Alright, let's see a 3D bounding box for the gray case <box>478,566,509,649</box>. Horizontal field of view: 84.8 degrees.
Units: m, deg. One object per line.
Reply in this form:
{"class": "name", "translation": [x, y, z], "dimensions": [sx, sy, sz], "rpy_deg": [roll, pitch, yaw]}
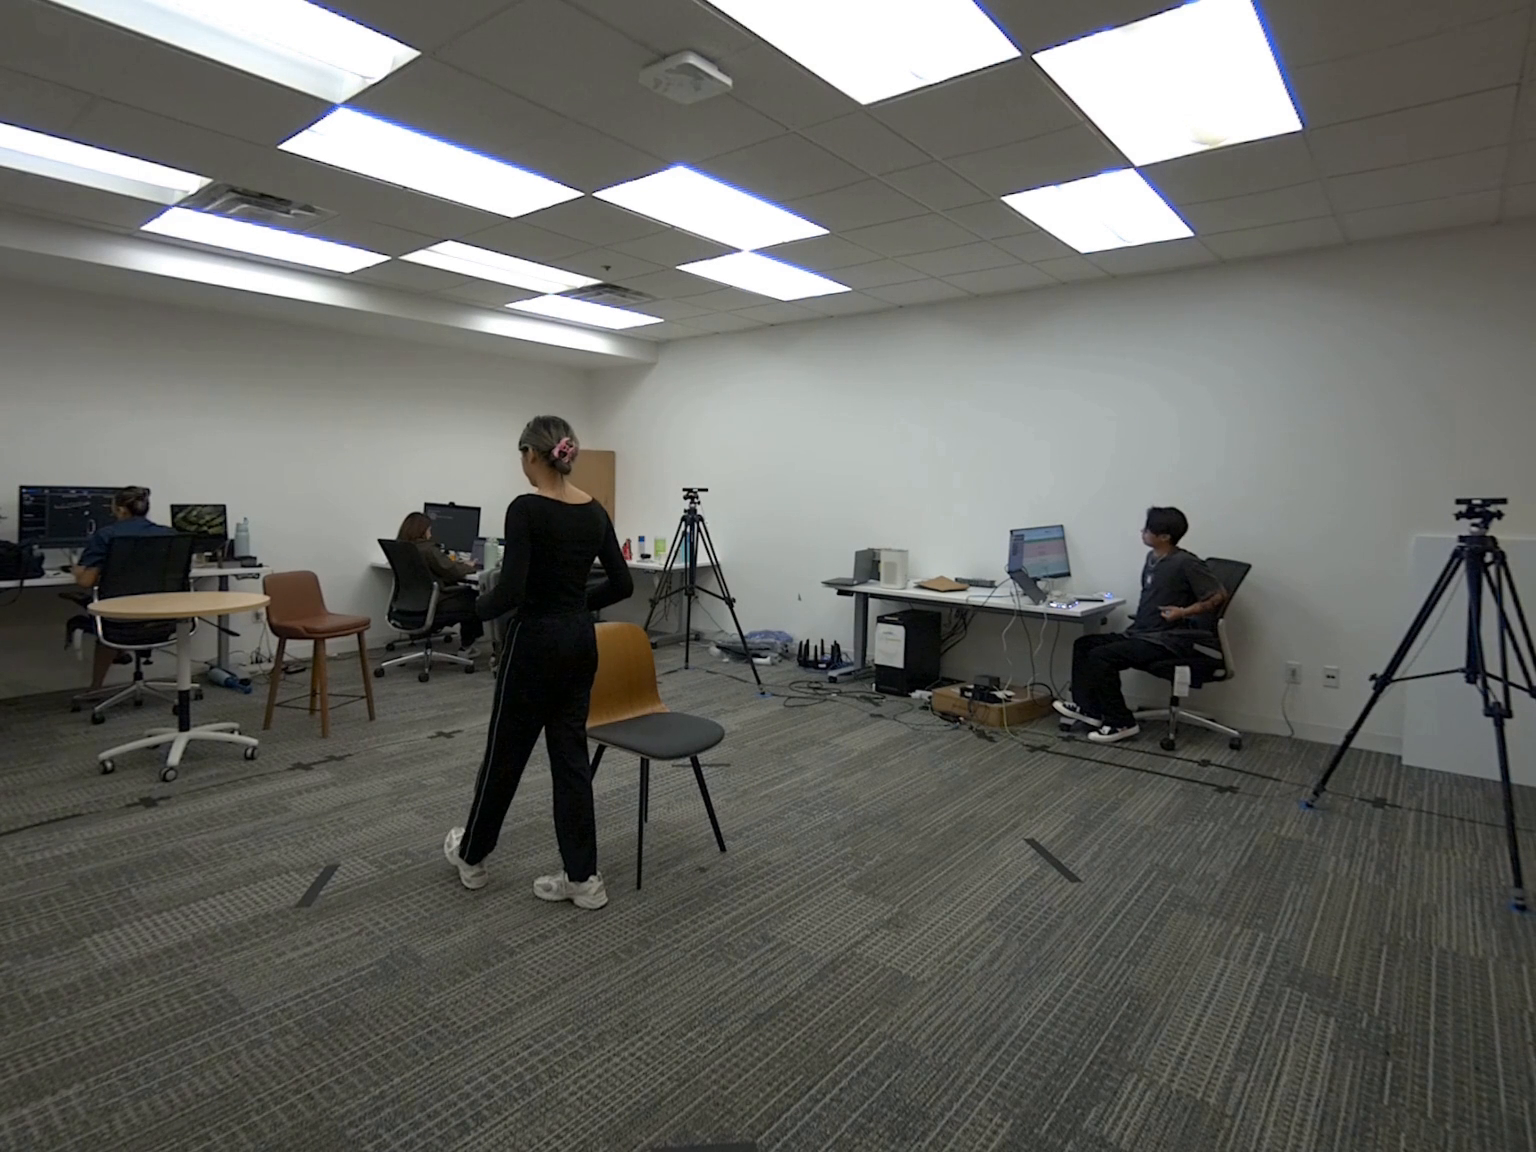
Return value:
{"class": "gray case", "translation": [-0.890, 0.081, 2.984], "dimensions": [0.107, 0.260, 0.250], "rpy_deg": [-5, 3, 43]}
